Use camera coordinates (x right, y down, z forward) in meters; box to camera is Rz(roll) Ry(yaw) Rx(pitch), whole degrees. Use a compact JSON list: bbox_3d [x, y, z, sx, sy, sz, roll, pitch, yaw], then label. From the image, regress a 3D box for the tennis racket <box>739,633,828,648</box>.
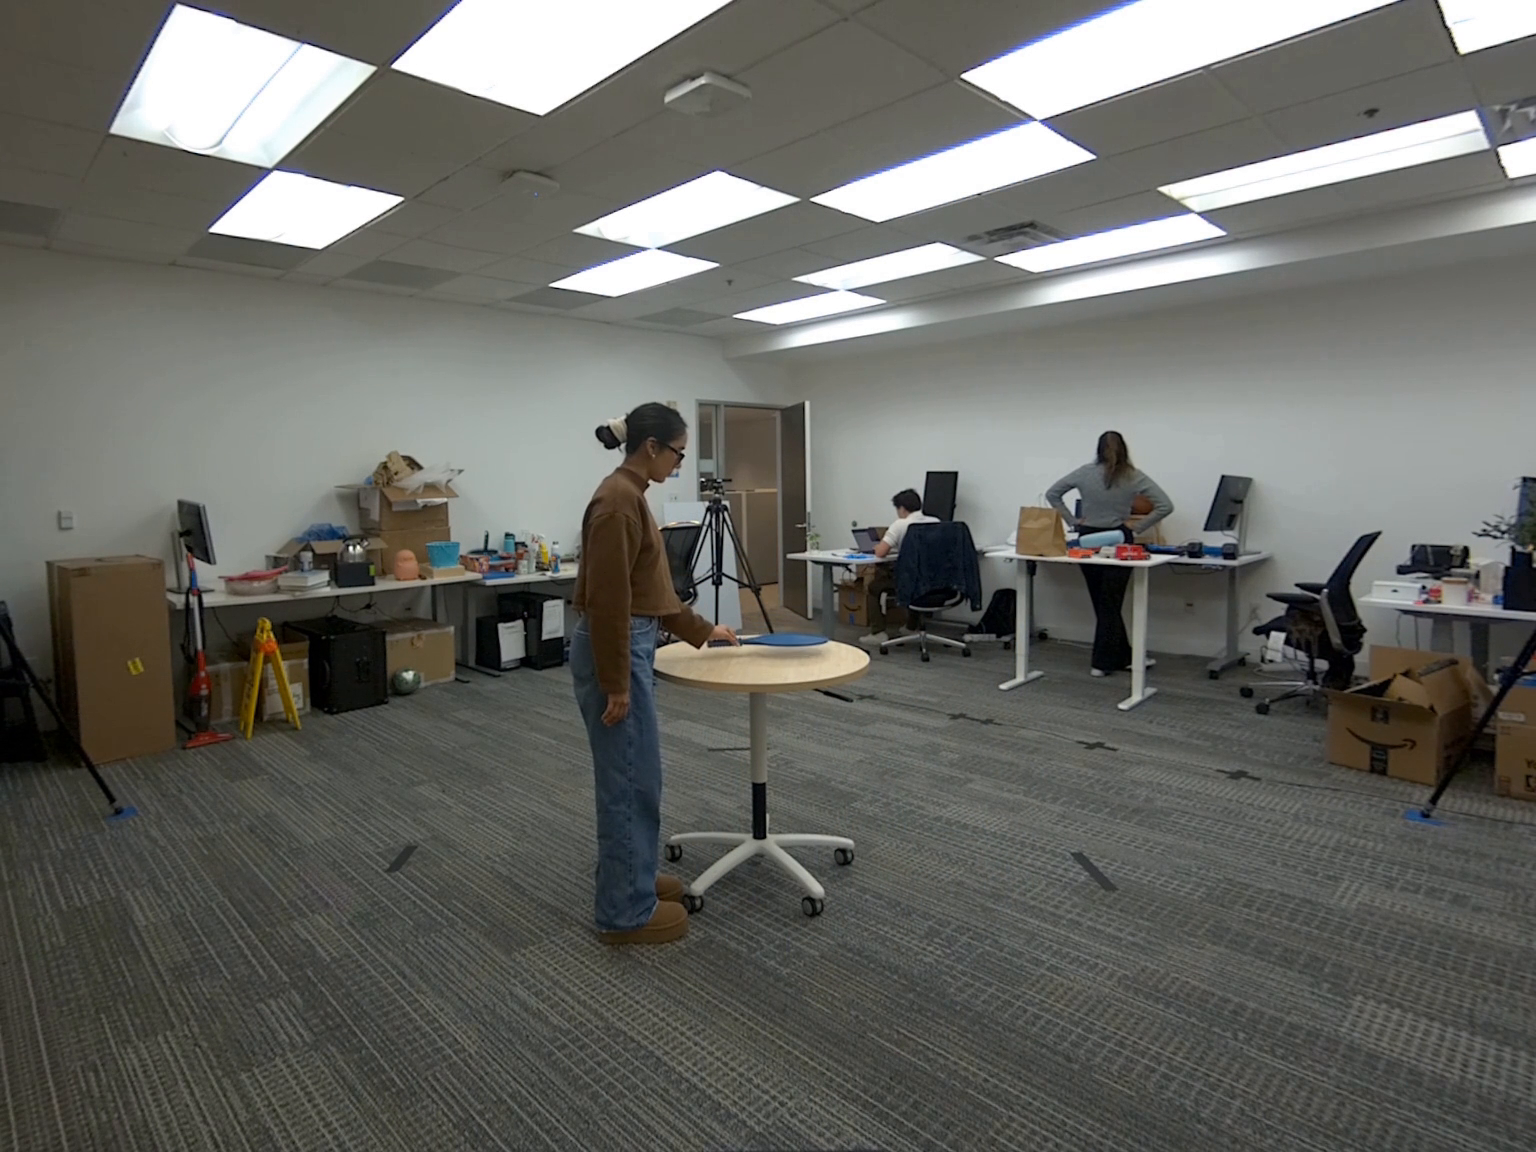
[{"bbox_3d":[-0.003,0.222,2.992,0.428,0.031,0.217,-1,5,-12],"label":"tennis racket"}]
